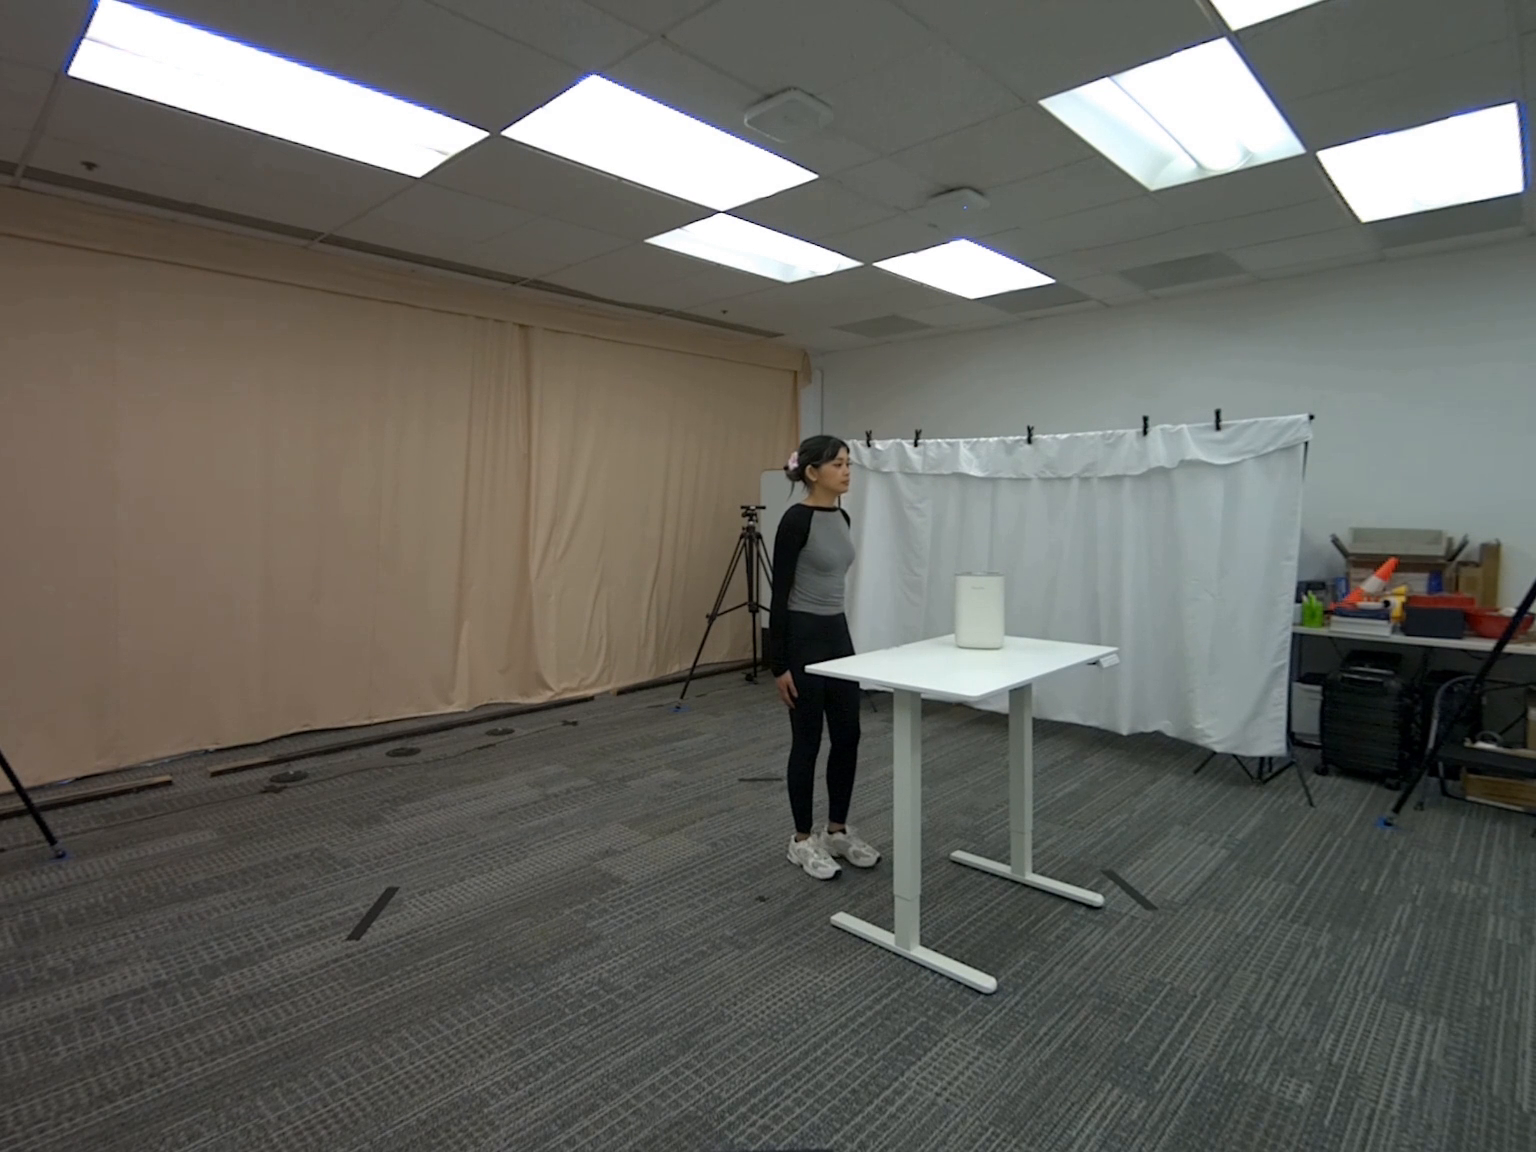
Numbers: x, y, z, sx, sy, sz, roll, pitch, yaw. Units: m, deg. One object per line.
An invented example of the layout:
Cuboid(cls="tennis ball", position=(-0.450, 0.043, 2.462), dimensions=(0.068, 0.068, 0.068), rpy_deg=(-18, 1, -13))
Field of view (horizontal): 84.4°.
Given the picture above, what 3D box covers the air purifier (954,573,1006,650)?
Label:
Cuboid(cls="air purifier", position=(0.765, 0.122, 3.027), dimensions=(0.174, 0.265, 0.169), rpy_deg=(1, 3, 14))
